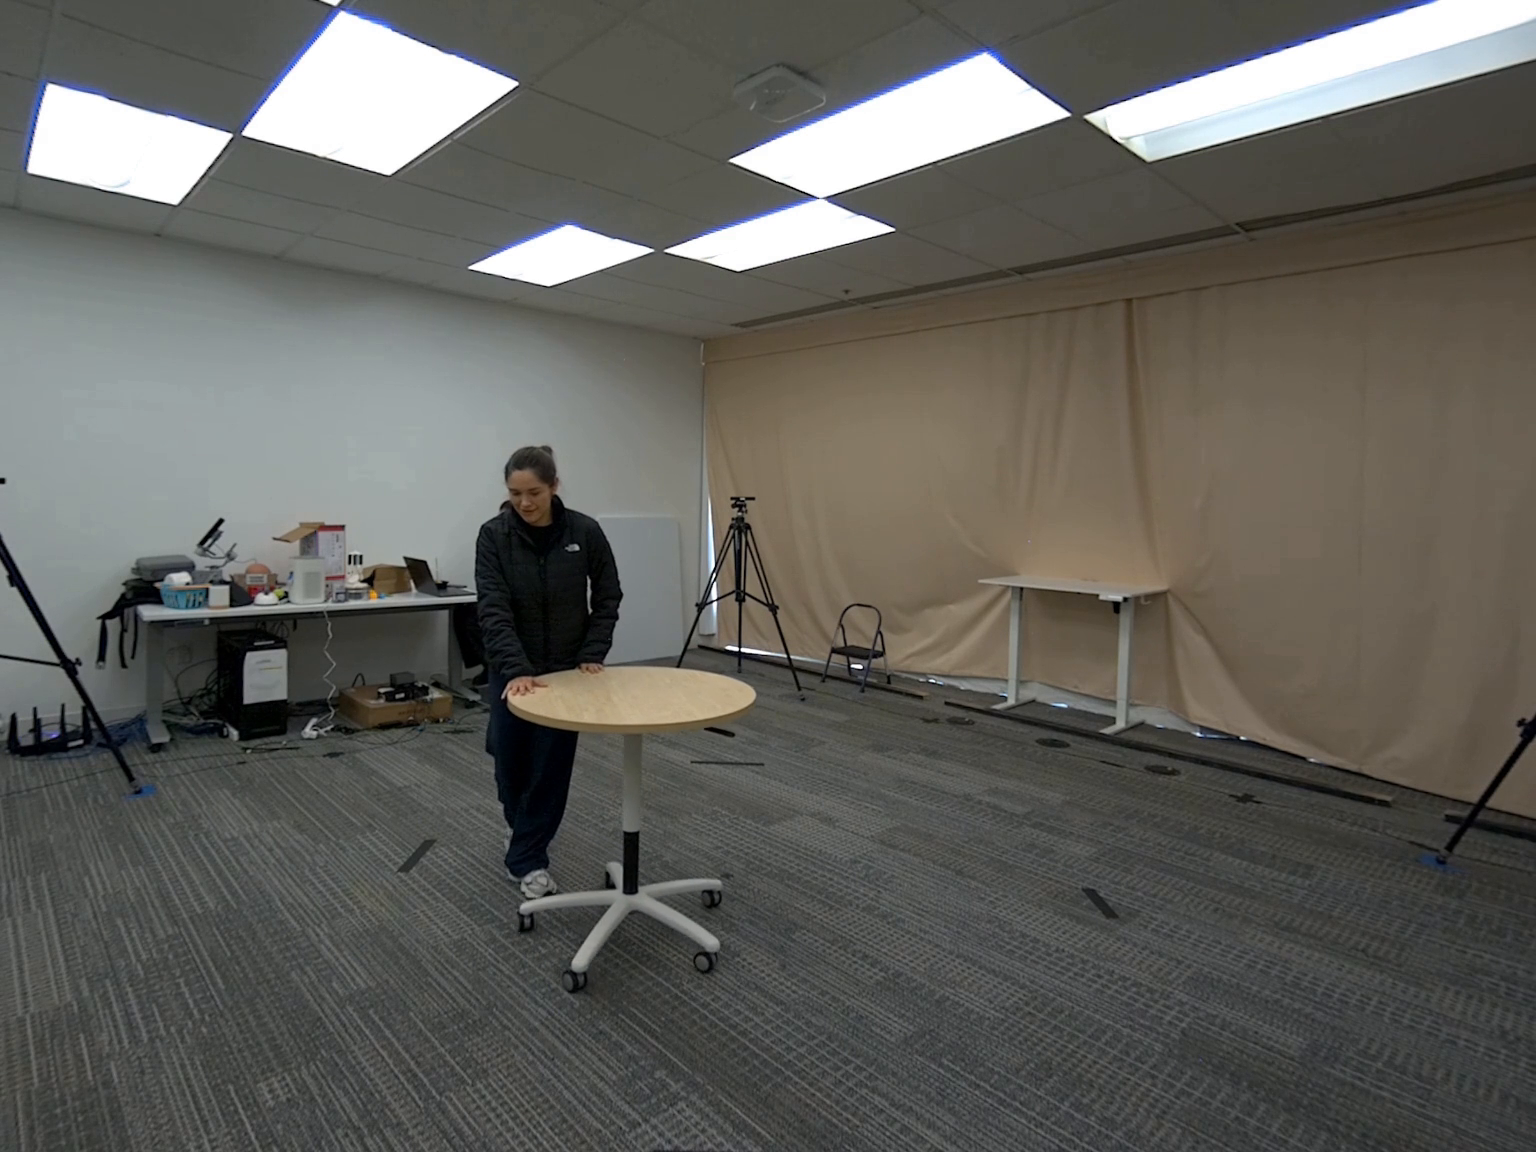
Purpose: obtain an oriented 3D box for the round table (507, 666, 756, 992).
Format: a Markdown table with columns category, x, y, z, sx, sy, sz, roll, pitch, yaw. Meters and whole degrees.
| category | x | y | z | sx | sy | sz | roll | pitch | yaw |
| --- | --- | --- | --- | --- | --- | --- | --- | --- | --- |
| round table | -0.443 | 0.749 | 2.639 | 0.784 | 0.784 | 0.788 | 2 | 4 | -1 |
